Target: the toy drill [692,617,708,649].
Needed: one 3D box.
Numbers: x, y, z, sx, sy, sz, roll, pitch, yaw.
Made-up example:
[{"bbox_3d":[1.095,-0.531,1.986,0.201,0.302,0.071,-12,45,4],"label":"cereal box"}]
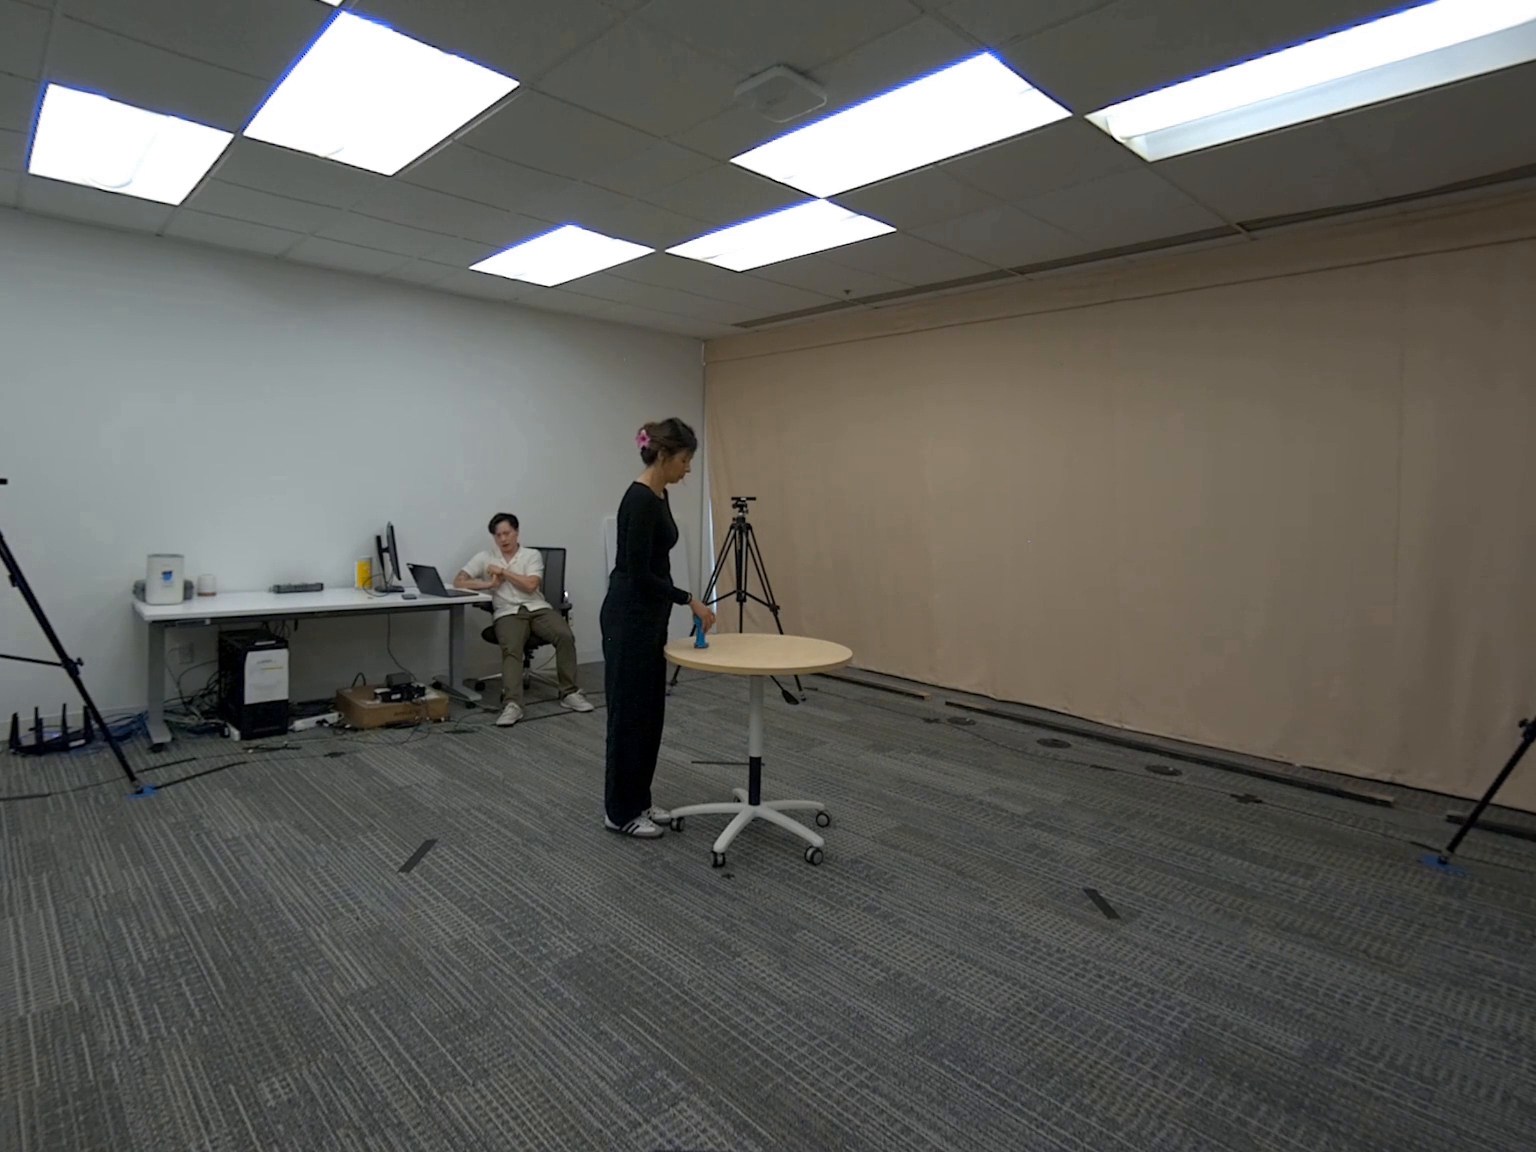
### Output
[{"bbox_3d":[-0.252,0.217,3.470,0.062,0.146,0.167,-1,1,25],"label":"toy drill"}]
